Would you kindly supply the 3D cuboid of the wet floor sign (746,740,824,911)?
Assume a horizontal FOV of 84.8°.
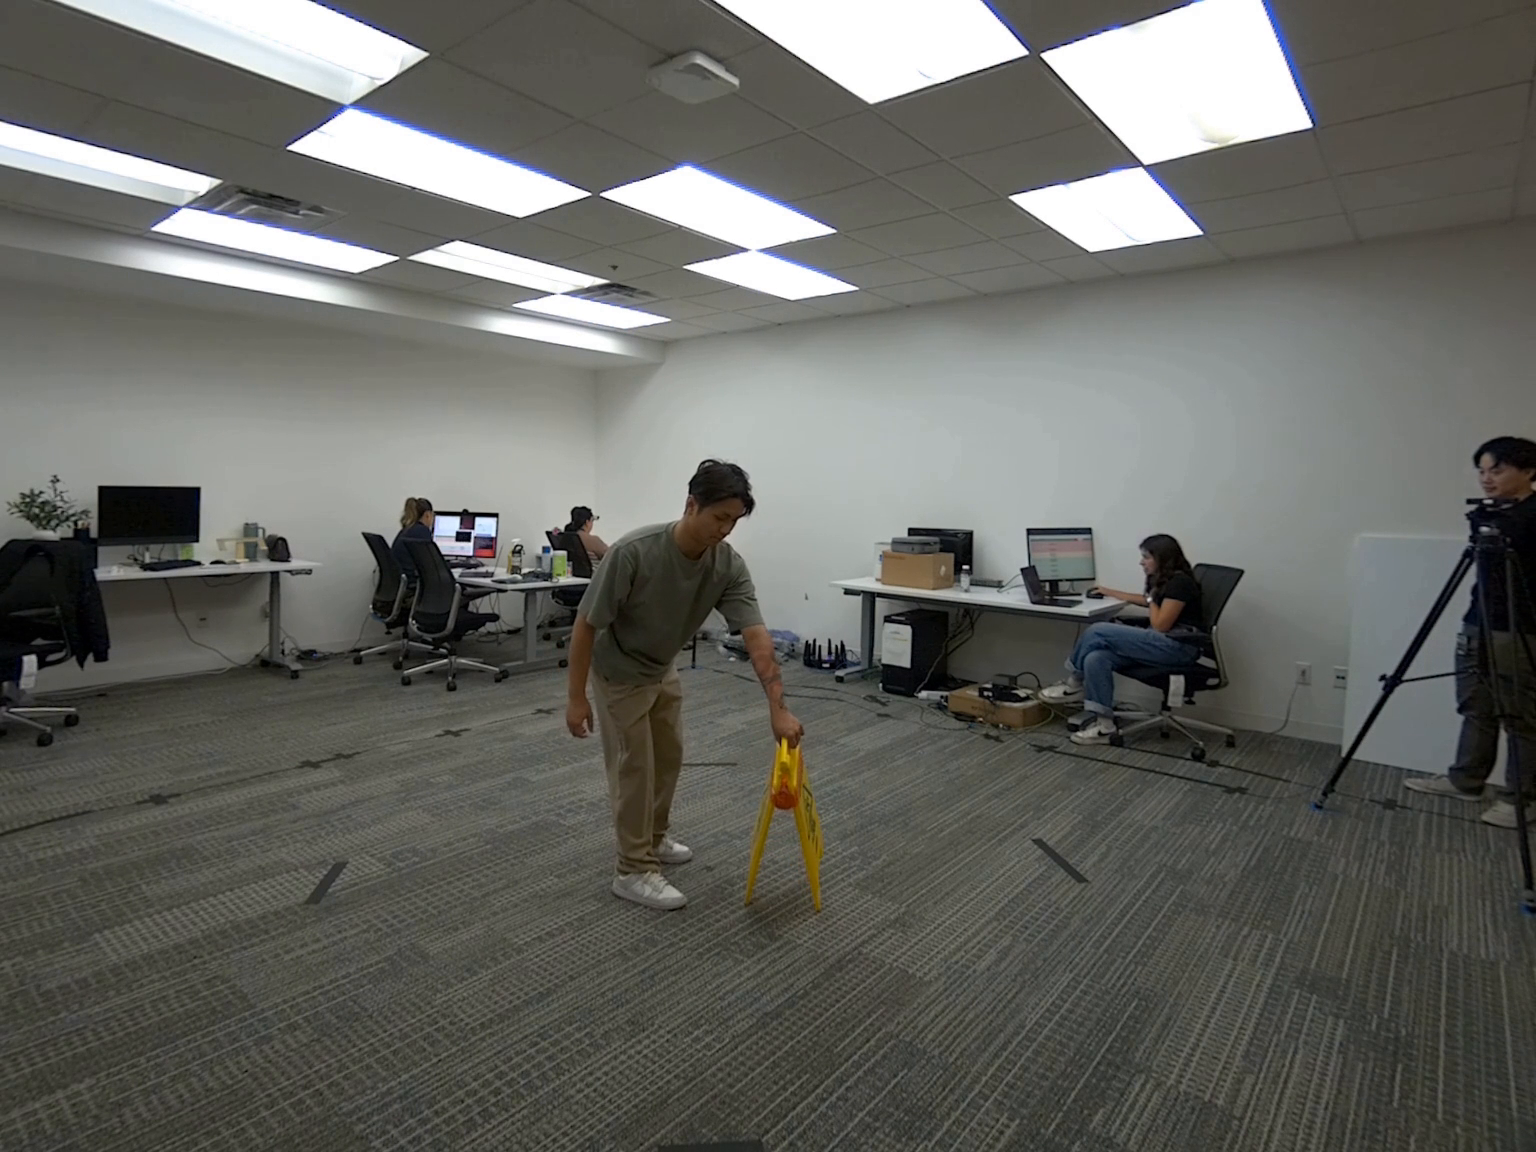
[{"bbox_3d":[0.057,0.764,2.771,0.292,0.629,0.288,4,33,5],"label":"wet floor sign"}]
